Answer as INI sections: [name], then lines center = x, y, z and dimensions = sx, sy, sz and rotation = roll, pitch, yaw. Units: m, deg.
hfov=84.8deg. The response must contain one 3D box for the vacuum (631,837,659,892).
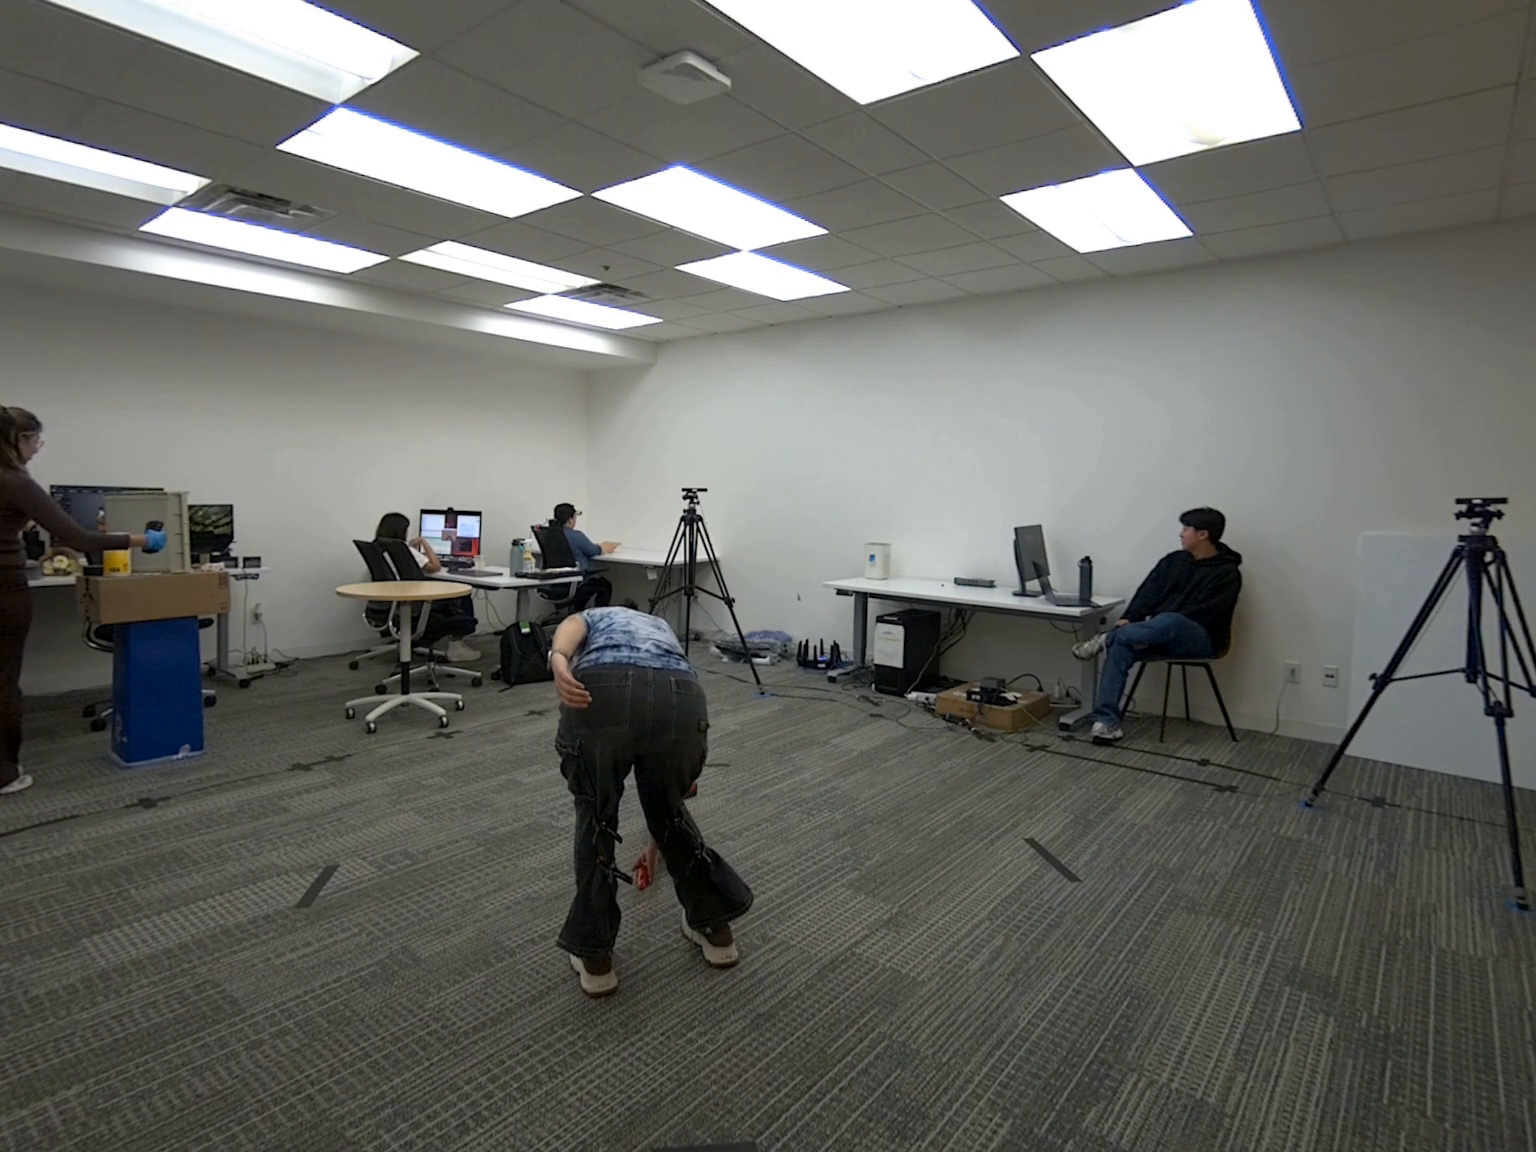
[vacuum]
center = -0.419, 0.950, 3.107
dimensions = 0.252, 0.144, 1.050
rotation = 1, 1, -3
